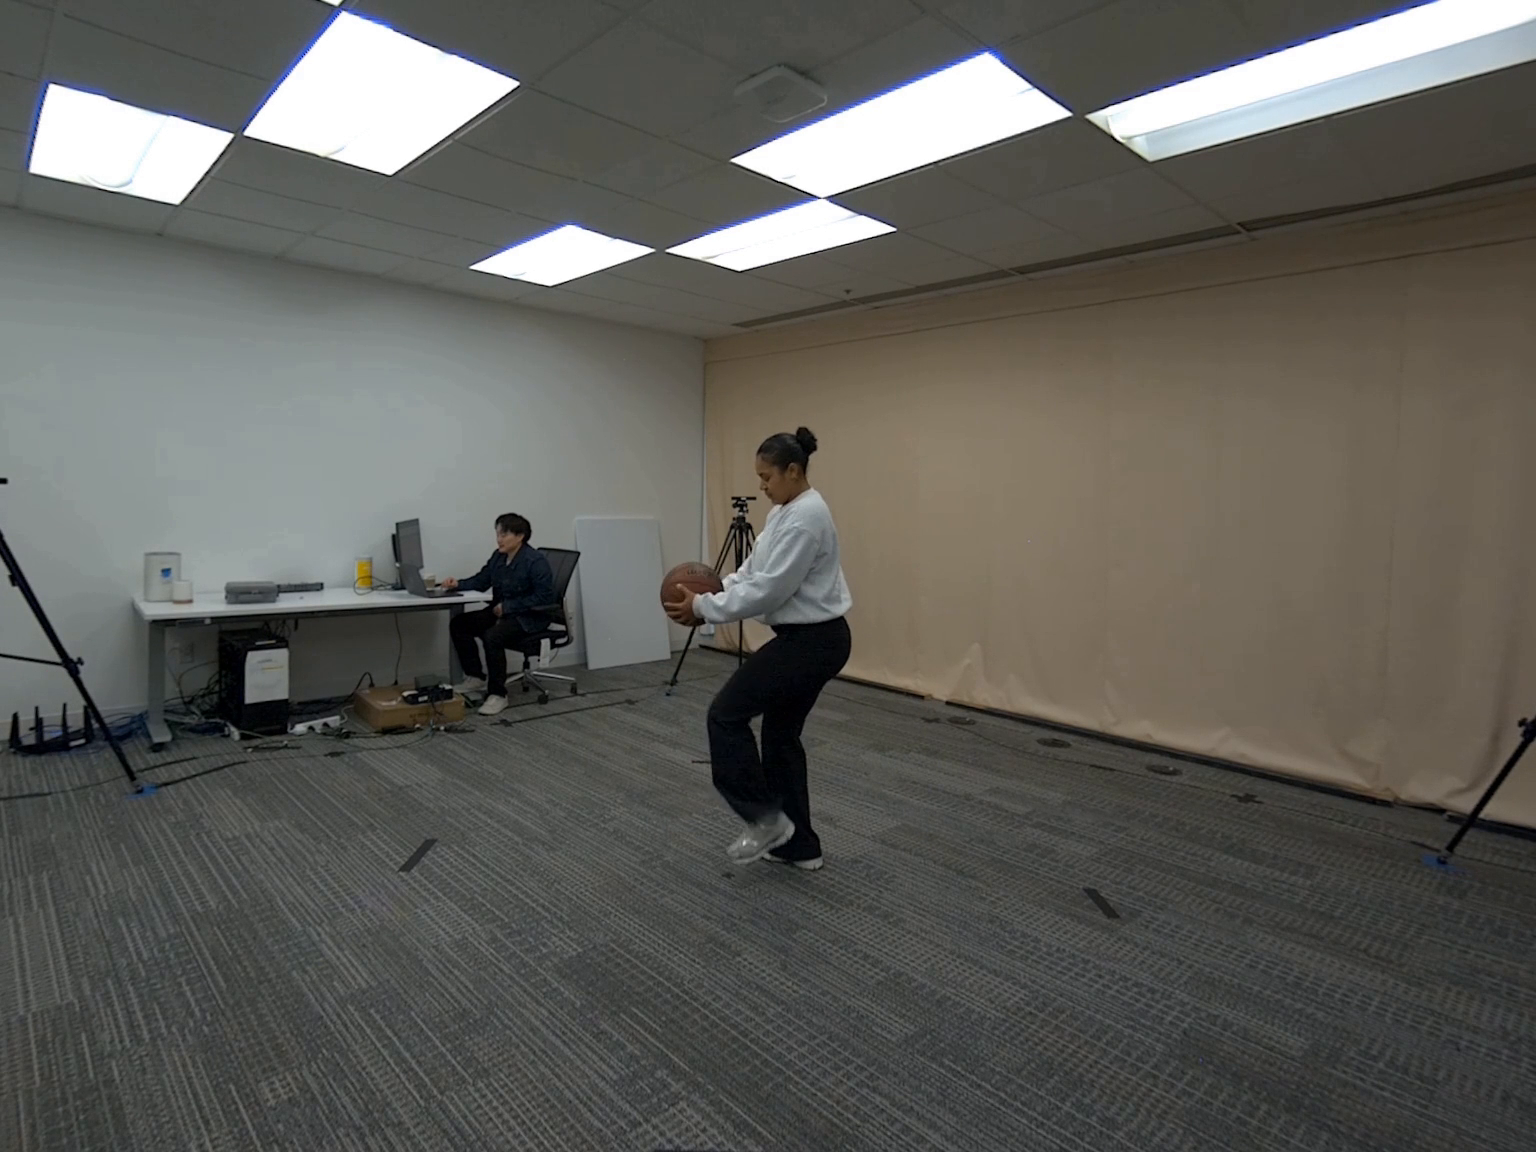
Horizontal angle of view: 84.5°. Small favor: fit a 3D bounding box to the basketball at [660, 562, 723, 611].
[{"bbox_3d":[-0.280,0.042,3.122,0.236,0.235,0.237,1,4,-1],"label":"basketball"}]
